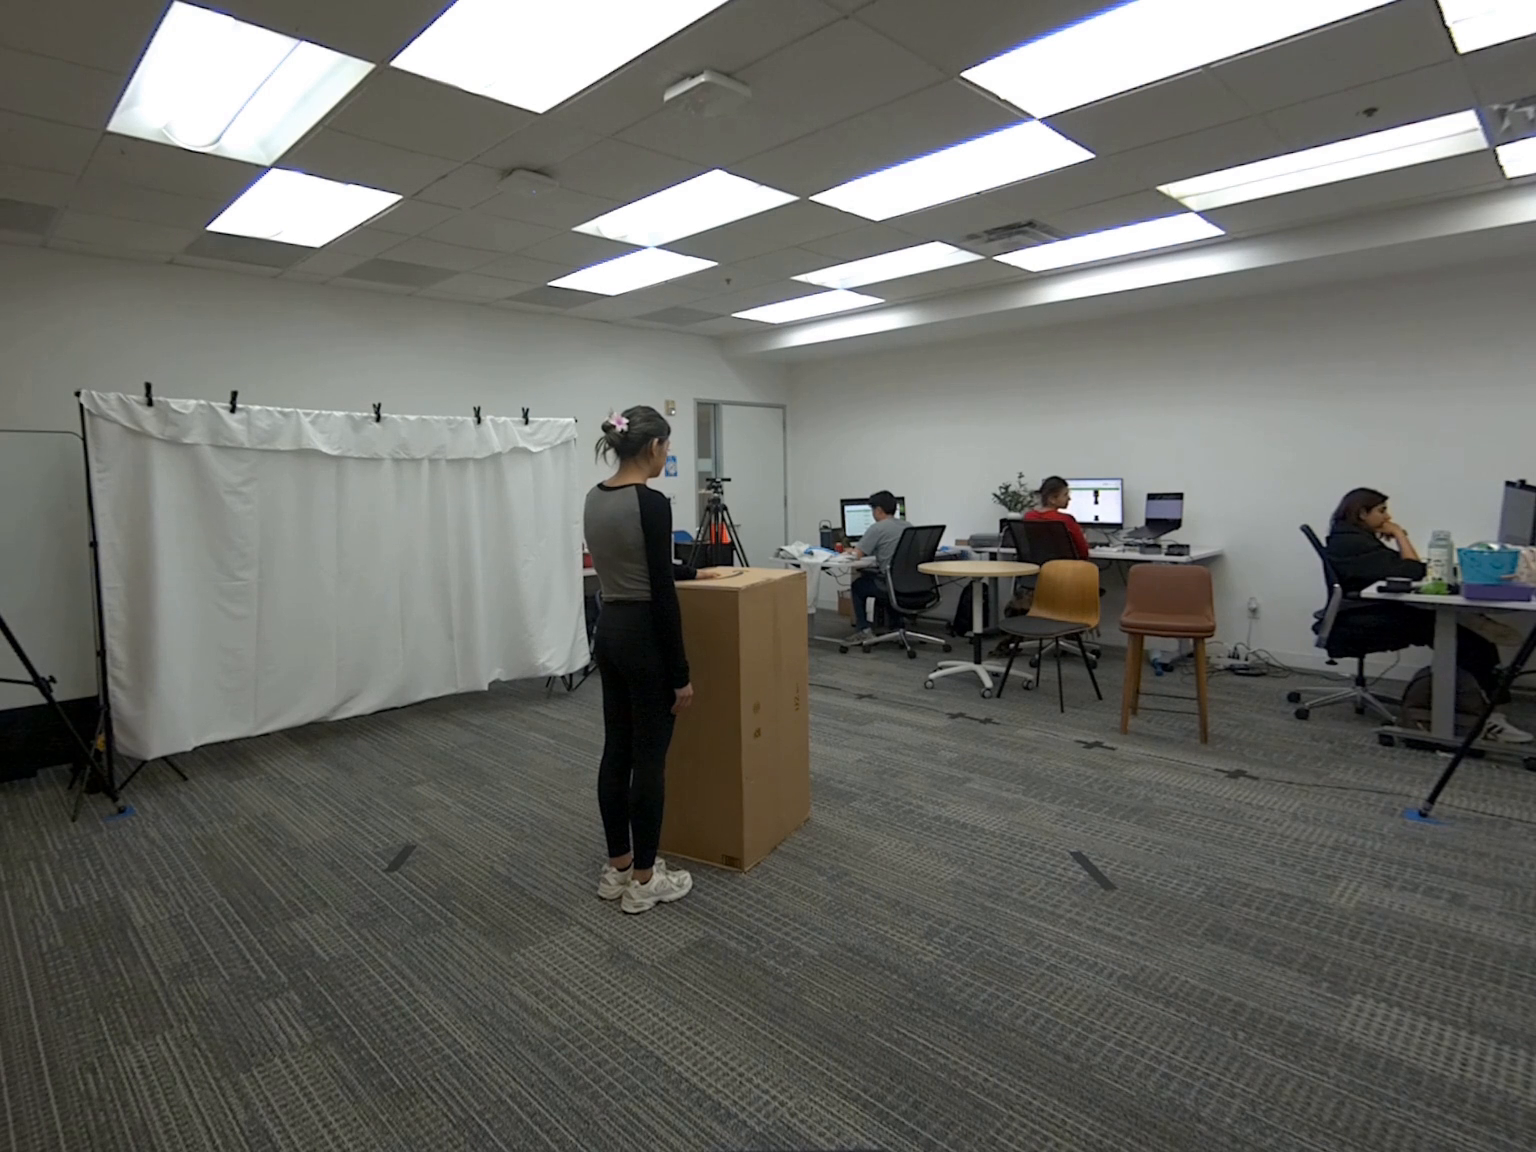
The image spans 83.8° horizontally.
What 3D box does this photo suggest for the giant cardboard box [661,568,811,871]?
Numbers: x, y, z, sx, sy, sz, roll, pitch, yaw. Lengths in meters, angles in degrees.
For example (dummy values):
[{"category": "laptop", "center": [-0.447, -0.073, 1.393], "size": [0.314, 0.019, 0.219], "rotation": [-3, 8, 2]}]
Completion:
[{"category": "giant cardboard box", "center": [-0.149, 0.512, 3.342], "size": [0.458, 1.023, 0.572], "rotation": [2, 5, 27]}]
